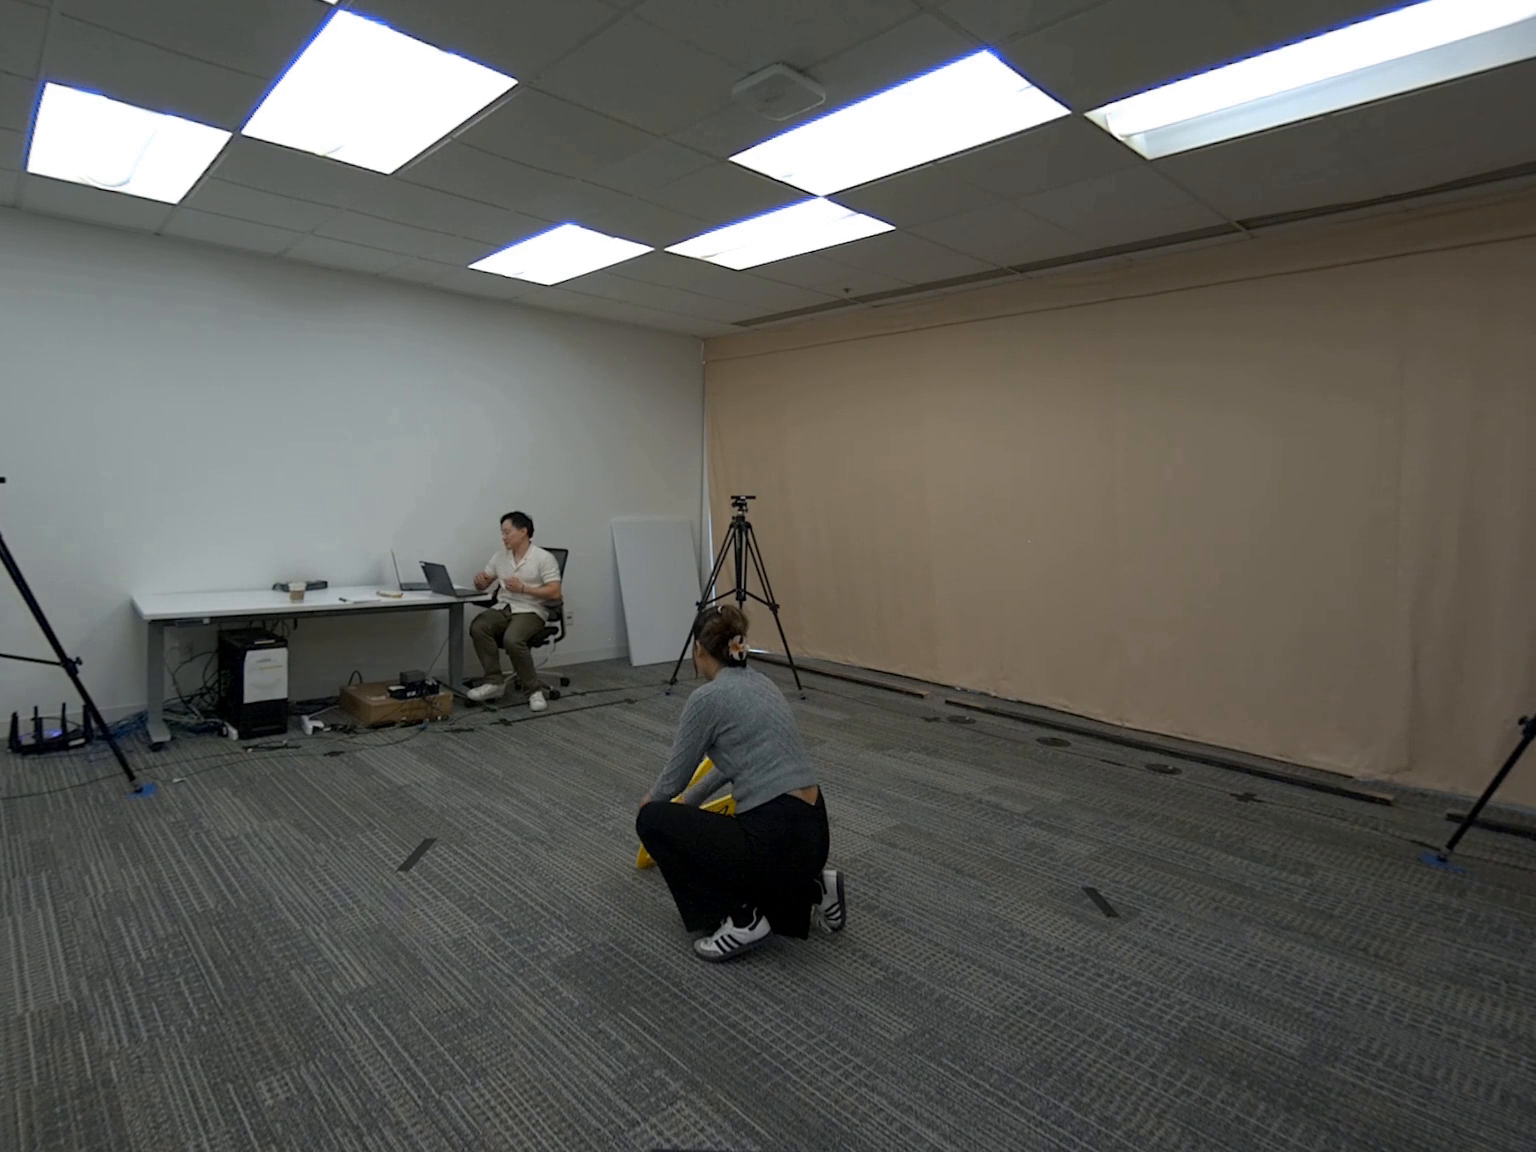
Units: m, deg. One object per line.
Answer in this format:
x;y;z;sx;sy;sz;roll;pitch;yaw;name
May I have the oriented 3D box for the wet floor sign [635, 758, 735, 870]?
-0.285;0.935;3.326;0.297;0.279;0.636;33;30;25;wet floor sign
